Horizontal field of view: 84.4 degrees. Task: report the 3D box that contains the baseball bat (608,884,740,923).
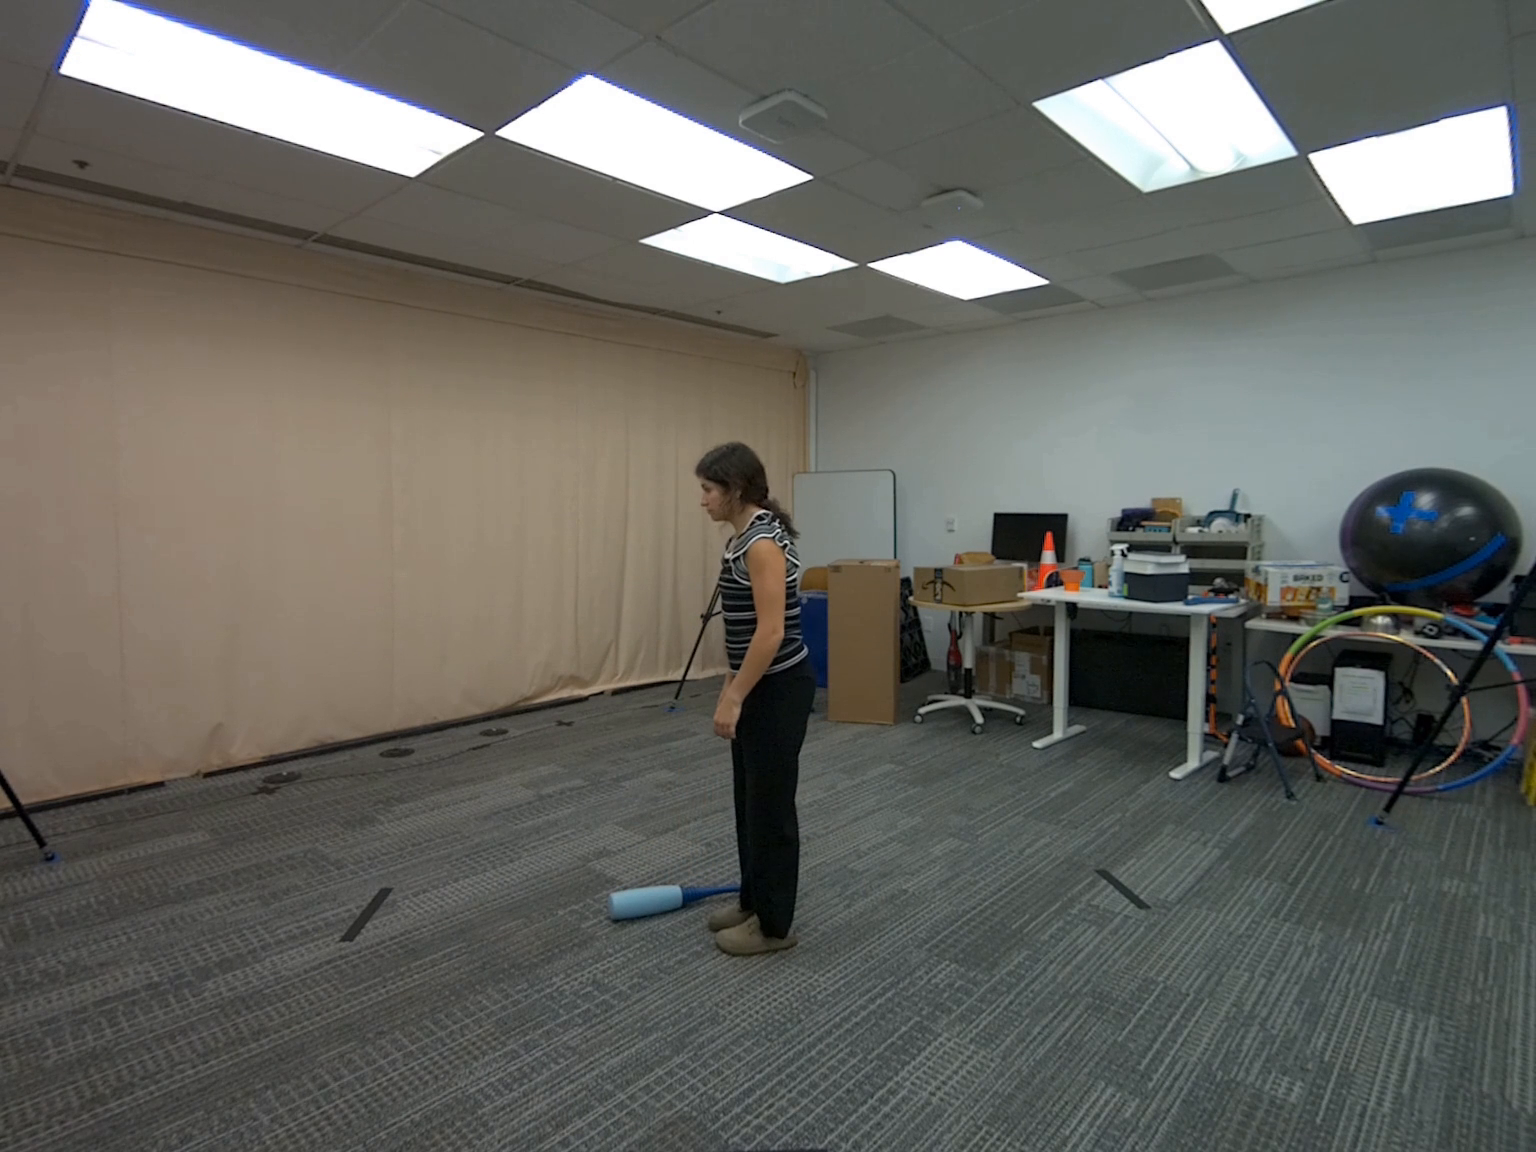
[{"bbox_3d":[-0.290,1.115,2.930,0.531,0.089,0.091,0,3,-22],"label":"baseball bat"}]
